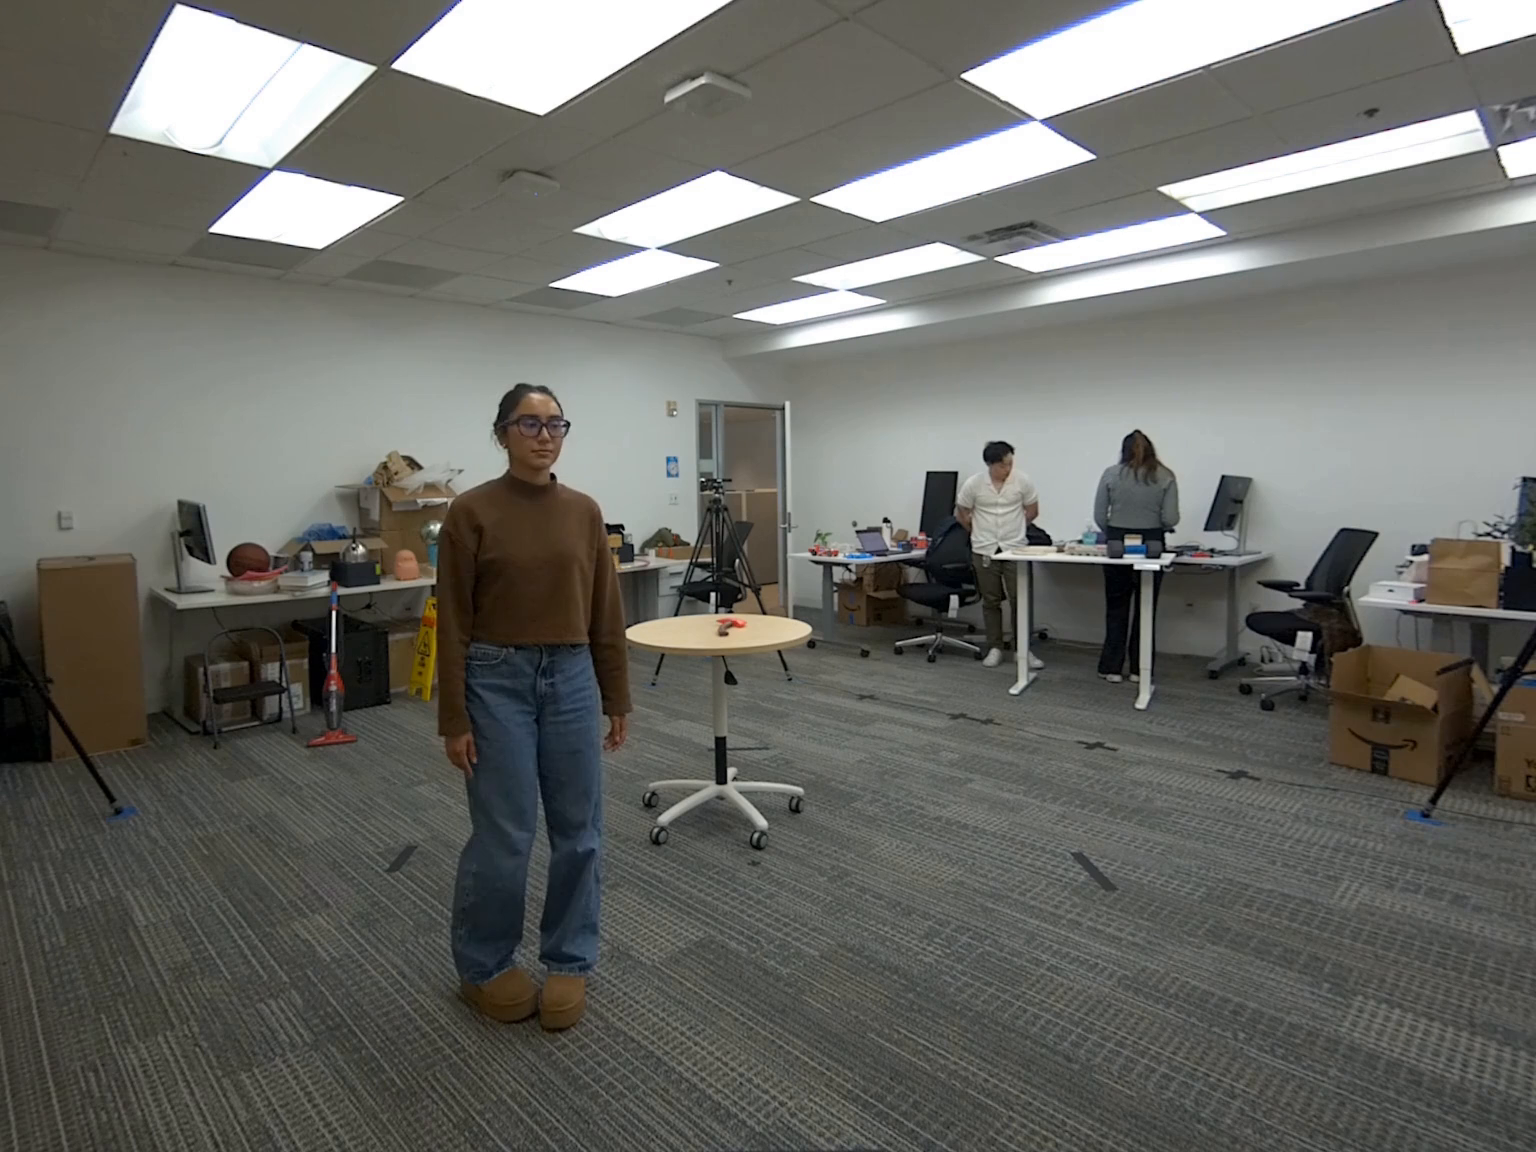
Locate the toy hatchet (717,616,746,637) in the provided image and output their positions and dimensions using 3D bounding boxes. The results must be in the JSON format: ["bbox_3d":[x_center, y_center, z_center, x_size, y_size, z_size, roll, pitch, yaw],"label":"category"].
[{"bbox_3d":[-0.139,0.211,3.484,0.130,0.029,0.273,2,8,-5],"label":"toy hatchet"}]
